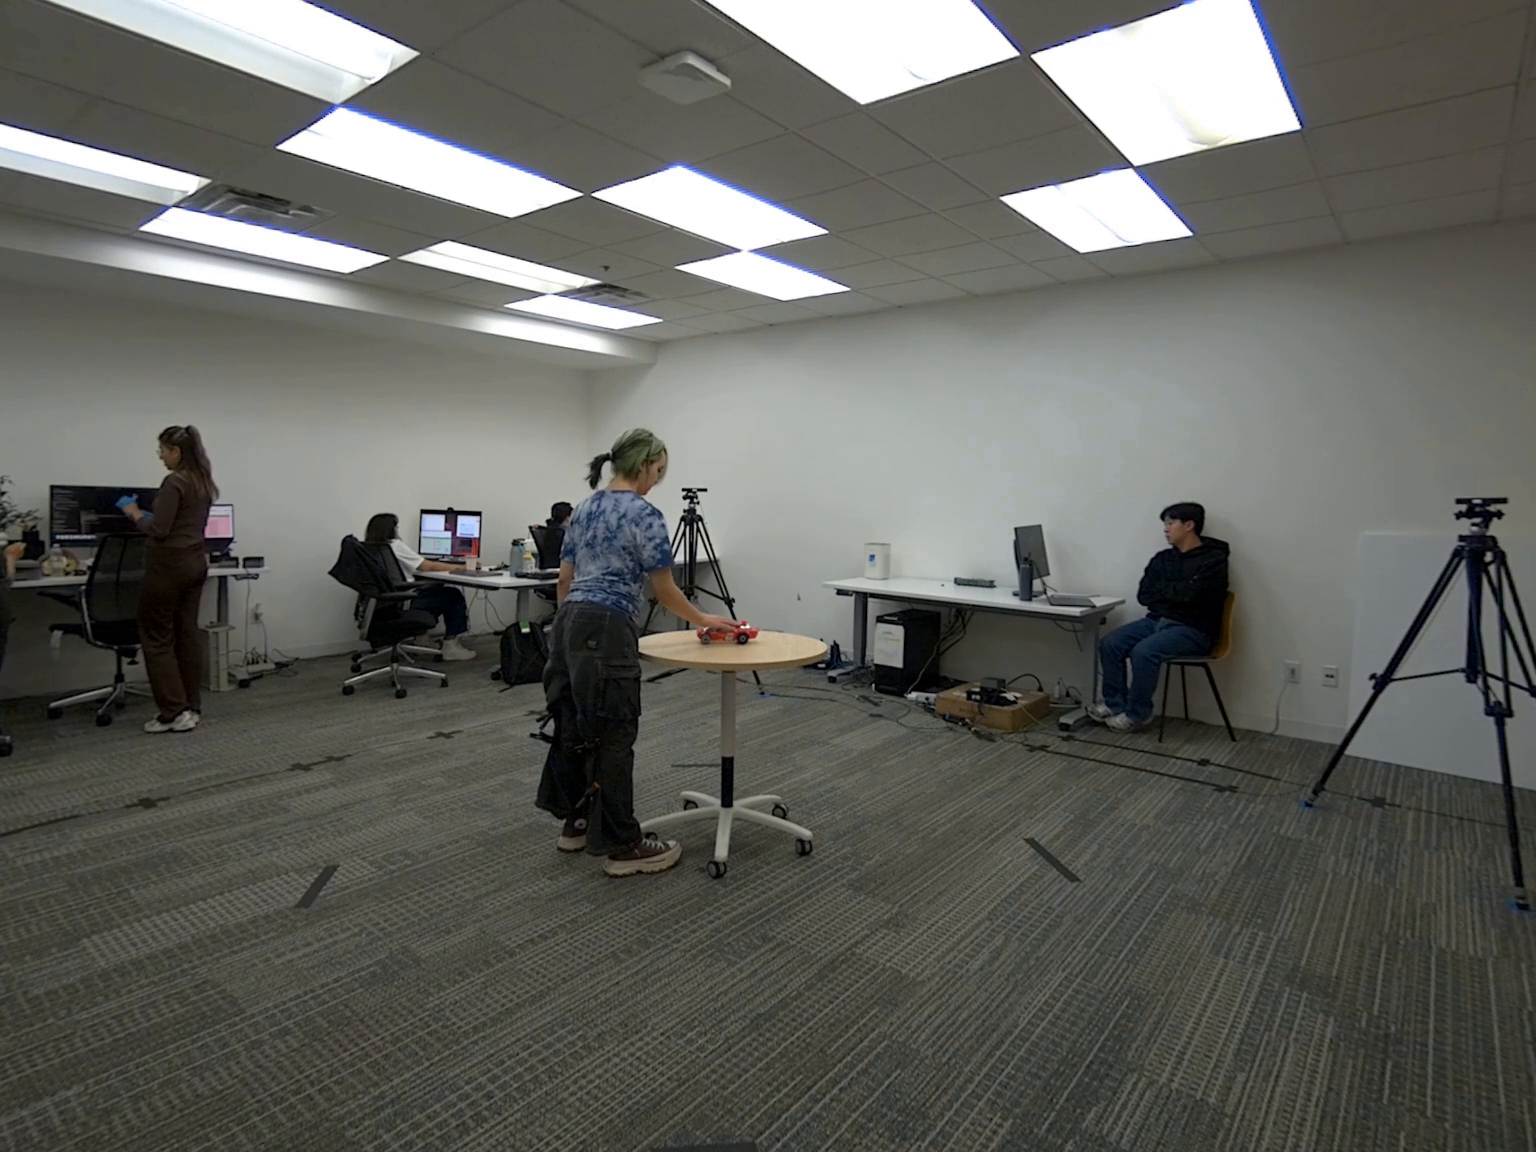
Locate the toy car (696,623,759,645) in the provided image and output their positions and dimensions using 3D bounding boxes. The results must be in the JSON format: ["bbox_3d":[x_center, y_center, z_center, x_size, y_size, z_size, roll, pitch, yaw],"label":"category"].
[{"bbox_3d":[-0.168,0.232,3.379,0.254,0.083,0.131,-11,7,-4],"label":"toy car"}]
